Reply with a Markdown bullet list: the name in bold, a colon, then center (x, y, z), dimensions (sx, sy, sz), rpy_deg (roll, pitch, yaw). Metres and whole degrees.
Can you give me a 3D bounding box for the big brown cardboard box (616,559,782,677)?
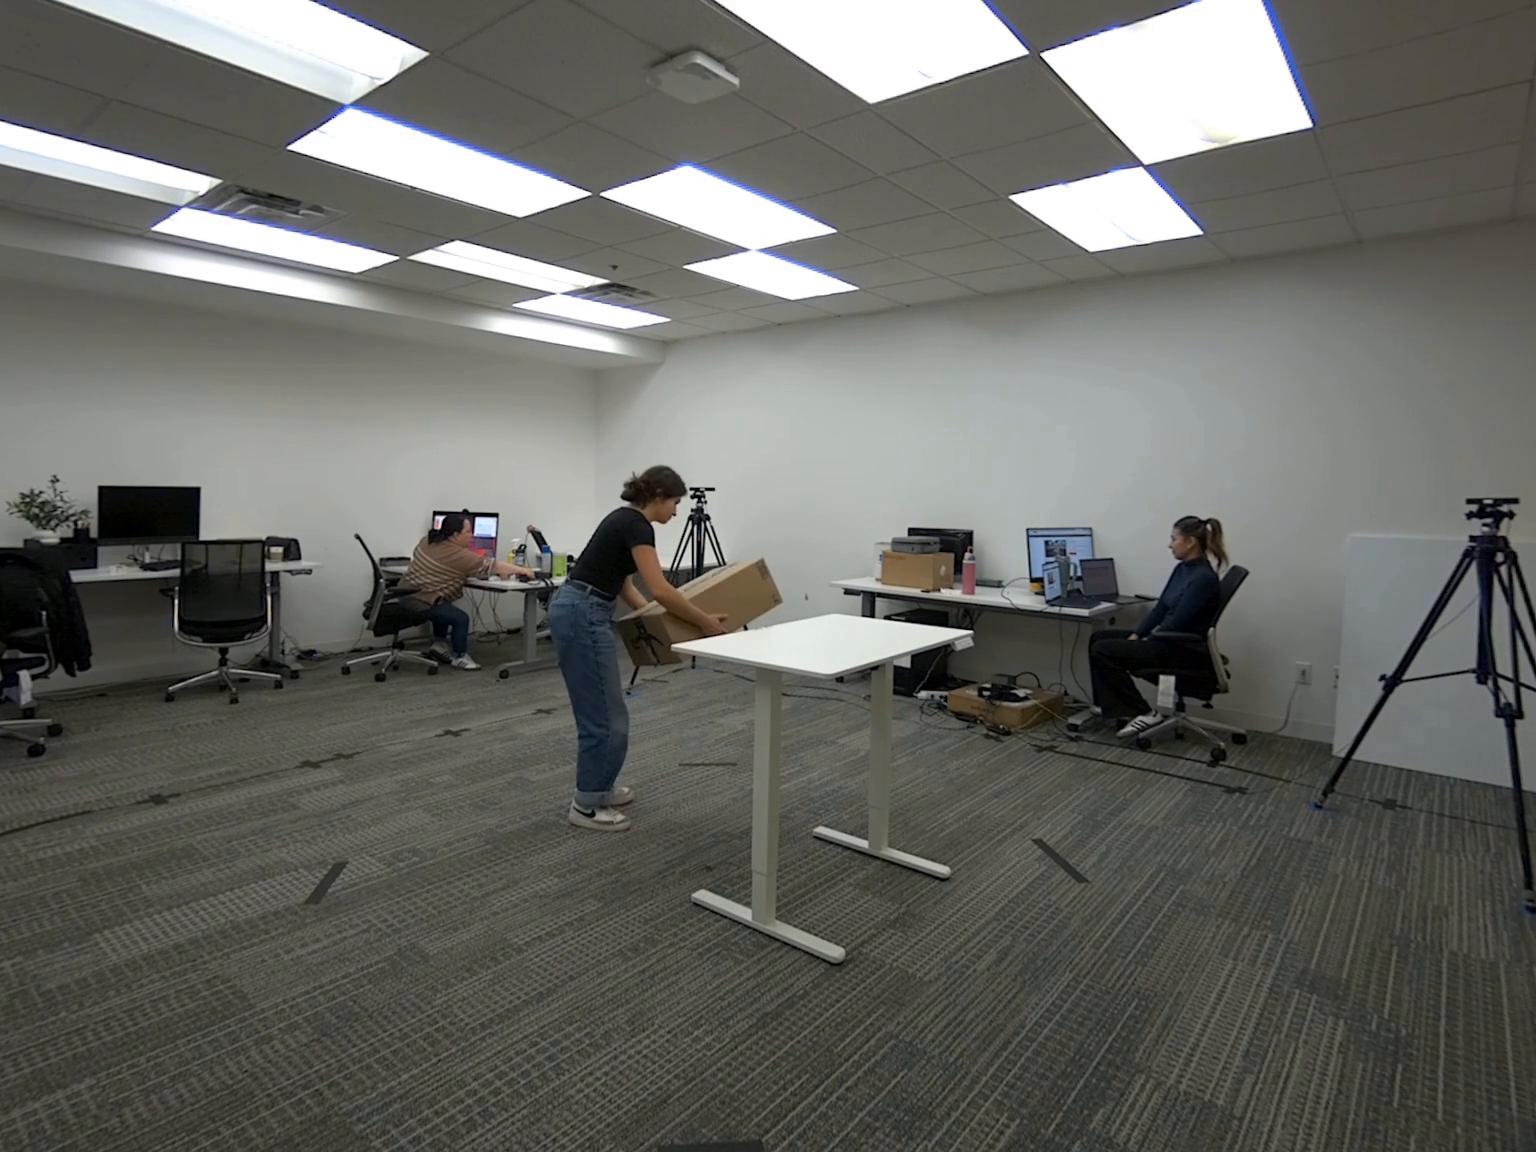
- **big brown cardboard box**: center (-0.308, 0.162, 3.666), dimensions (0.581, 0.231, 0.426), rpy_deg (-28, 9, -33)
